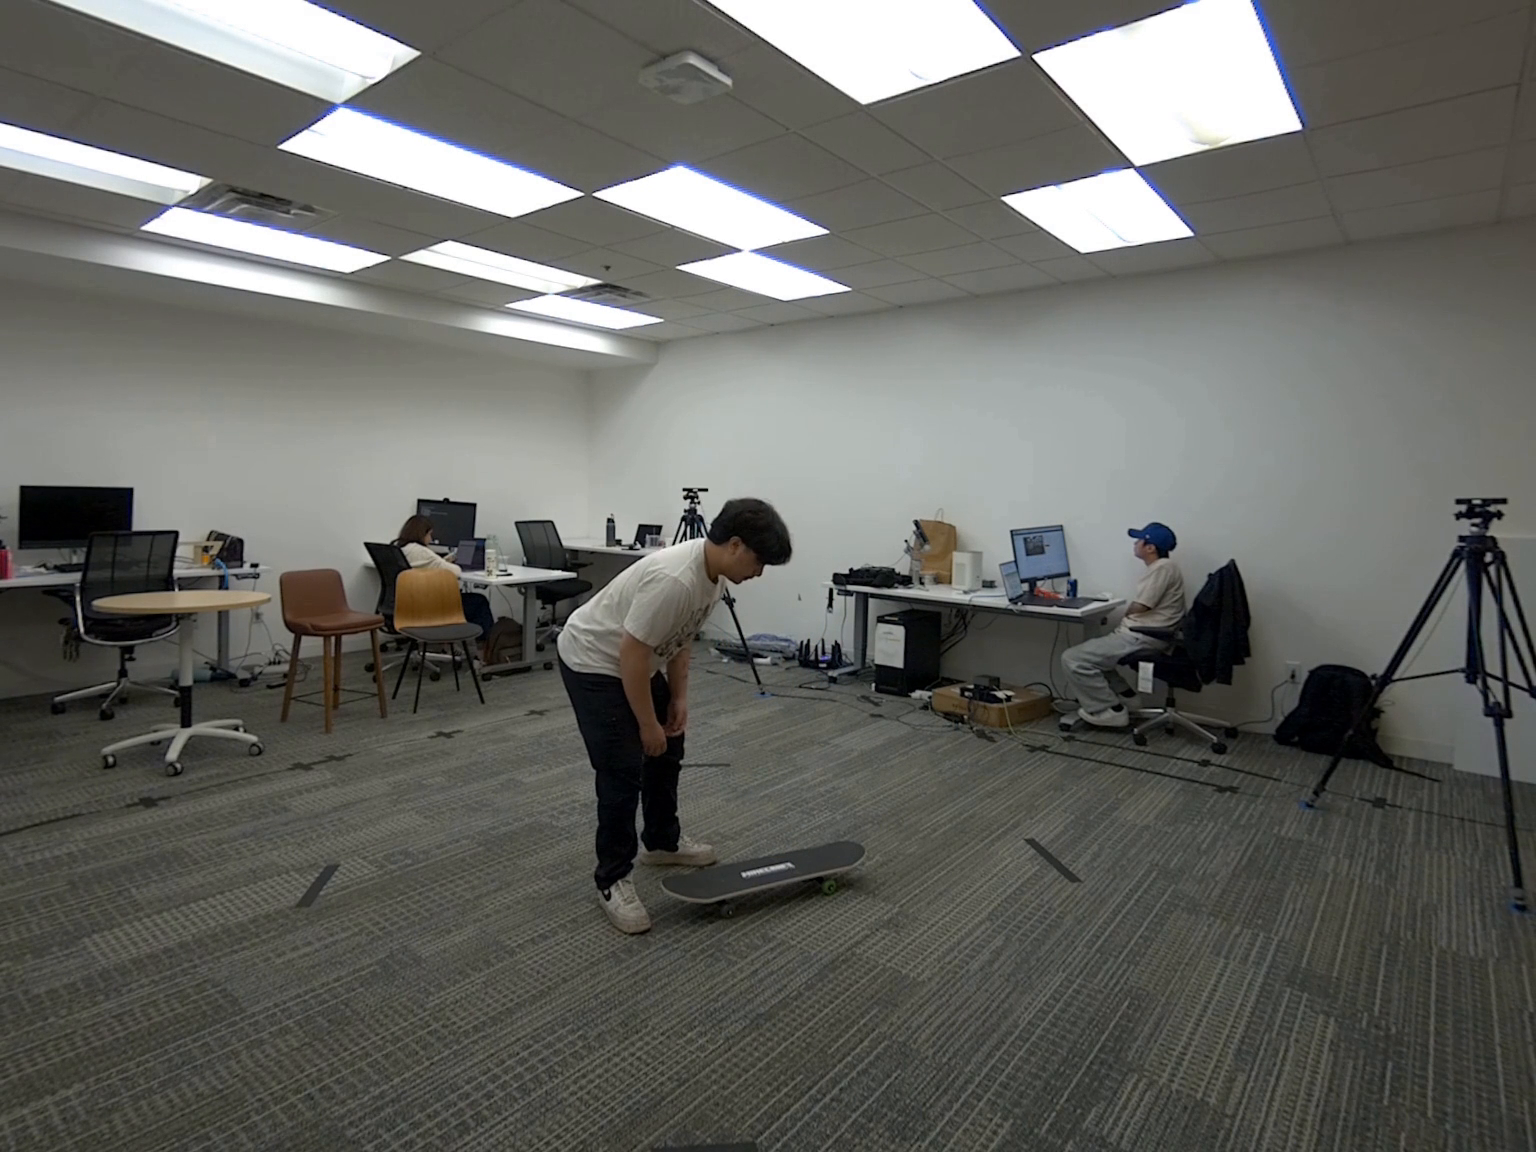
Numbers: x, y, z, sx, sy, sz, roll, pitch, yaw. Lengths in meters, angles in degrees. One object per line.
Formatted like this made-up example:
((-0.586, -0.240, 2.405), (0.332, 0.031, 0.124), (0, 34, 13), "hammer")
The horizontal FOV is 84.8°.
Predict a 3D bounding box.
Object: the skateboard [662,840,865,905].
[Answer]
((-0.003, 1.039, 2.915), (0.765, 0.110, 0.199), (-2, 7, -28), "skateboard")
